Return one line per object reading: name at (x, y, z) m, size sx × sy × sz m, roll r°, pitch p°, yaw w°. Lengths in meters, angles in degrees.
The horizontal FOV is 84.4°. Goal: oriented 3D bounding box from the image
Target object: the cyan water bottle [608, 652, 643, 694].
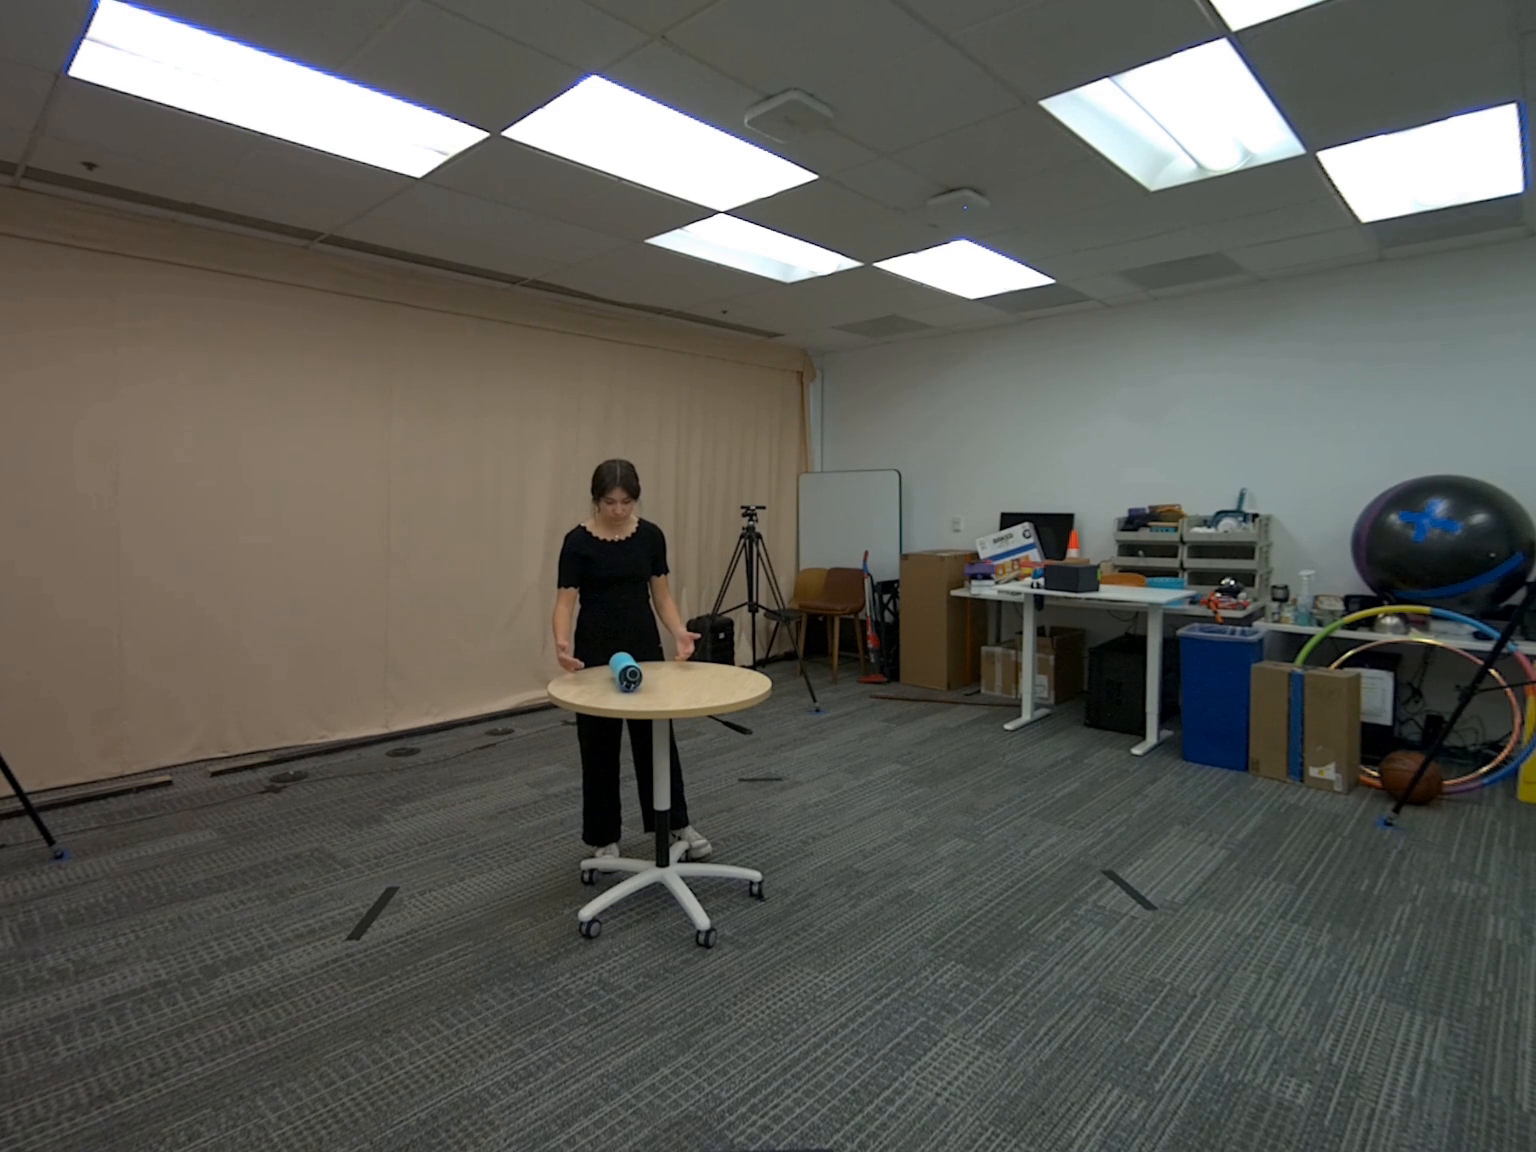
cyan water bottle at (-0.482, 0.328, 2.864) m, size 0.091 × 0.092 × 0.288 m, roll -1°, pitch 4°, yaw -16°
